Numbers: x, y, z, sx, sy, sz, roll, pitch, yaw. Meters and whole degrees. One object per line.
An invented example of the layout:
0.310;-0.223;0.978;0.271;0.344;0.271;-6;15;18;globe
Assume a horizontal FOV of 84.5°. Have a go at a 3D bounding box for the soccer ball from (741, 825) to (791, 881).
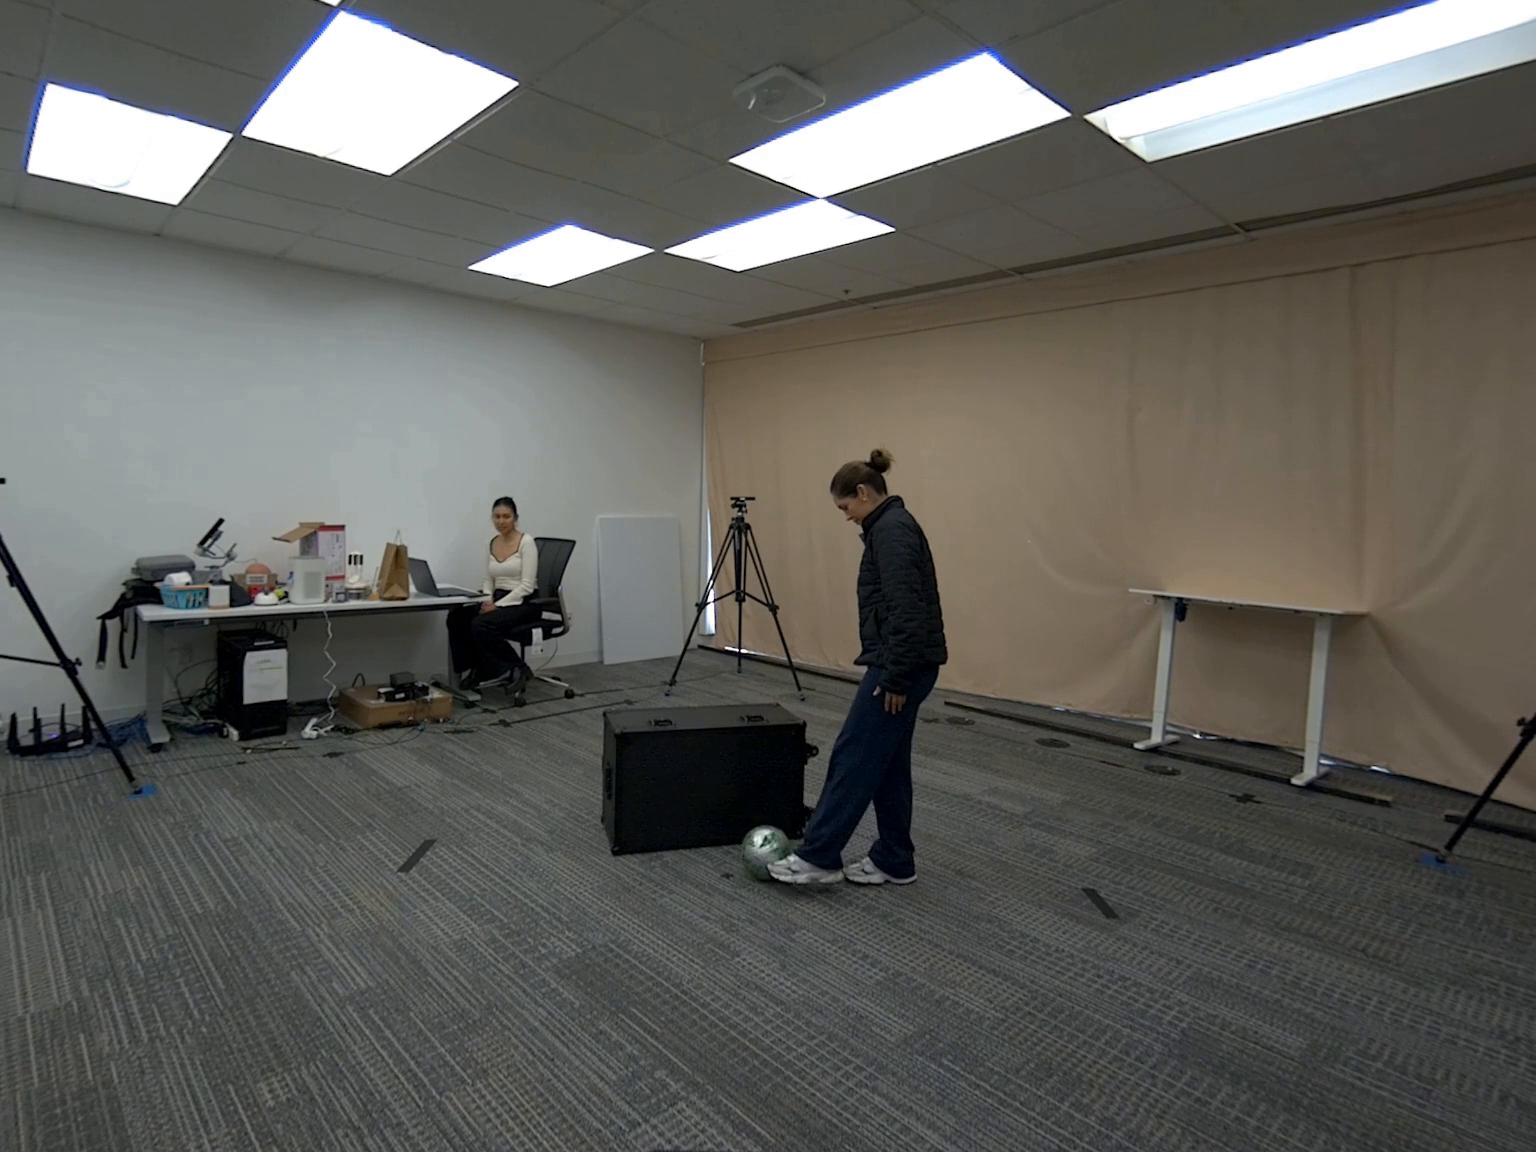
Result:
-0.030;1.003;3.120;0.187;0.187;0.188;1;4;-1;soccer ball
